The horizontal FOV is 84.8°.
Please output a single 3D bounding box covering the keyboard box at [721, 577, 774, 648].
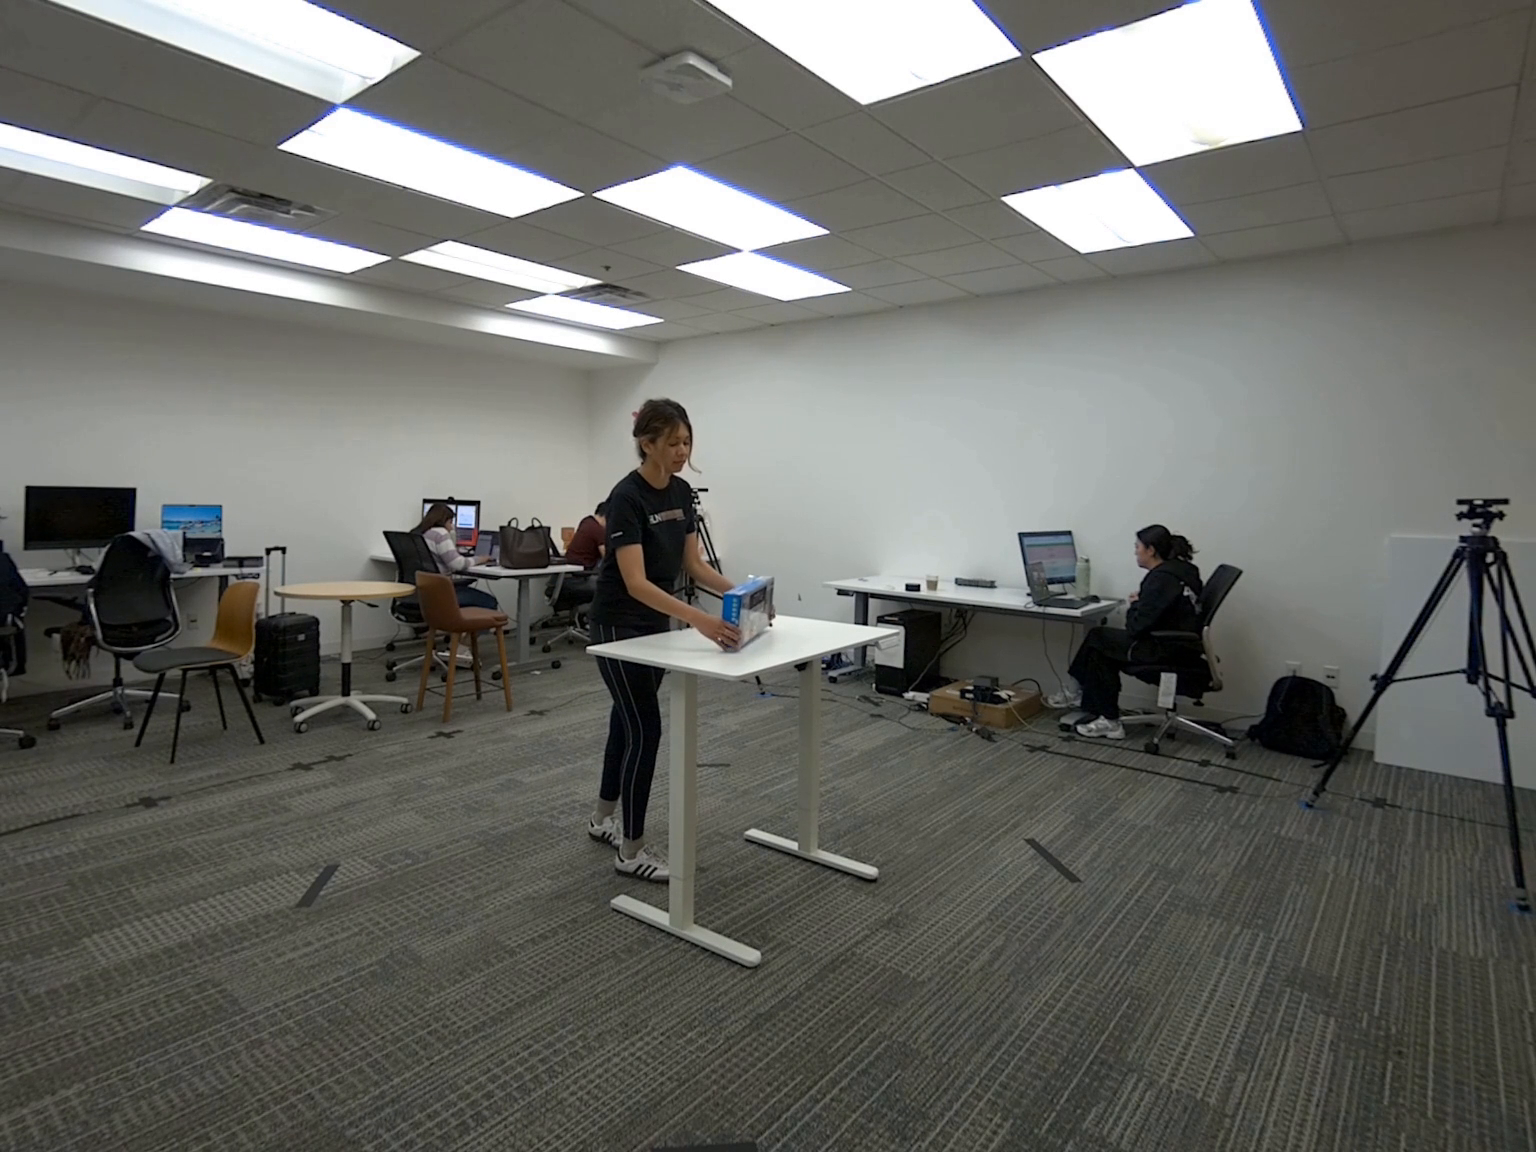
[{"bbox_3d":[-0.074,0.109,2.845,0.060,0.175,0.432,3,8,15],"label":"keyboard box"}]
